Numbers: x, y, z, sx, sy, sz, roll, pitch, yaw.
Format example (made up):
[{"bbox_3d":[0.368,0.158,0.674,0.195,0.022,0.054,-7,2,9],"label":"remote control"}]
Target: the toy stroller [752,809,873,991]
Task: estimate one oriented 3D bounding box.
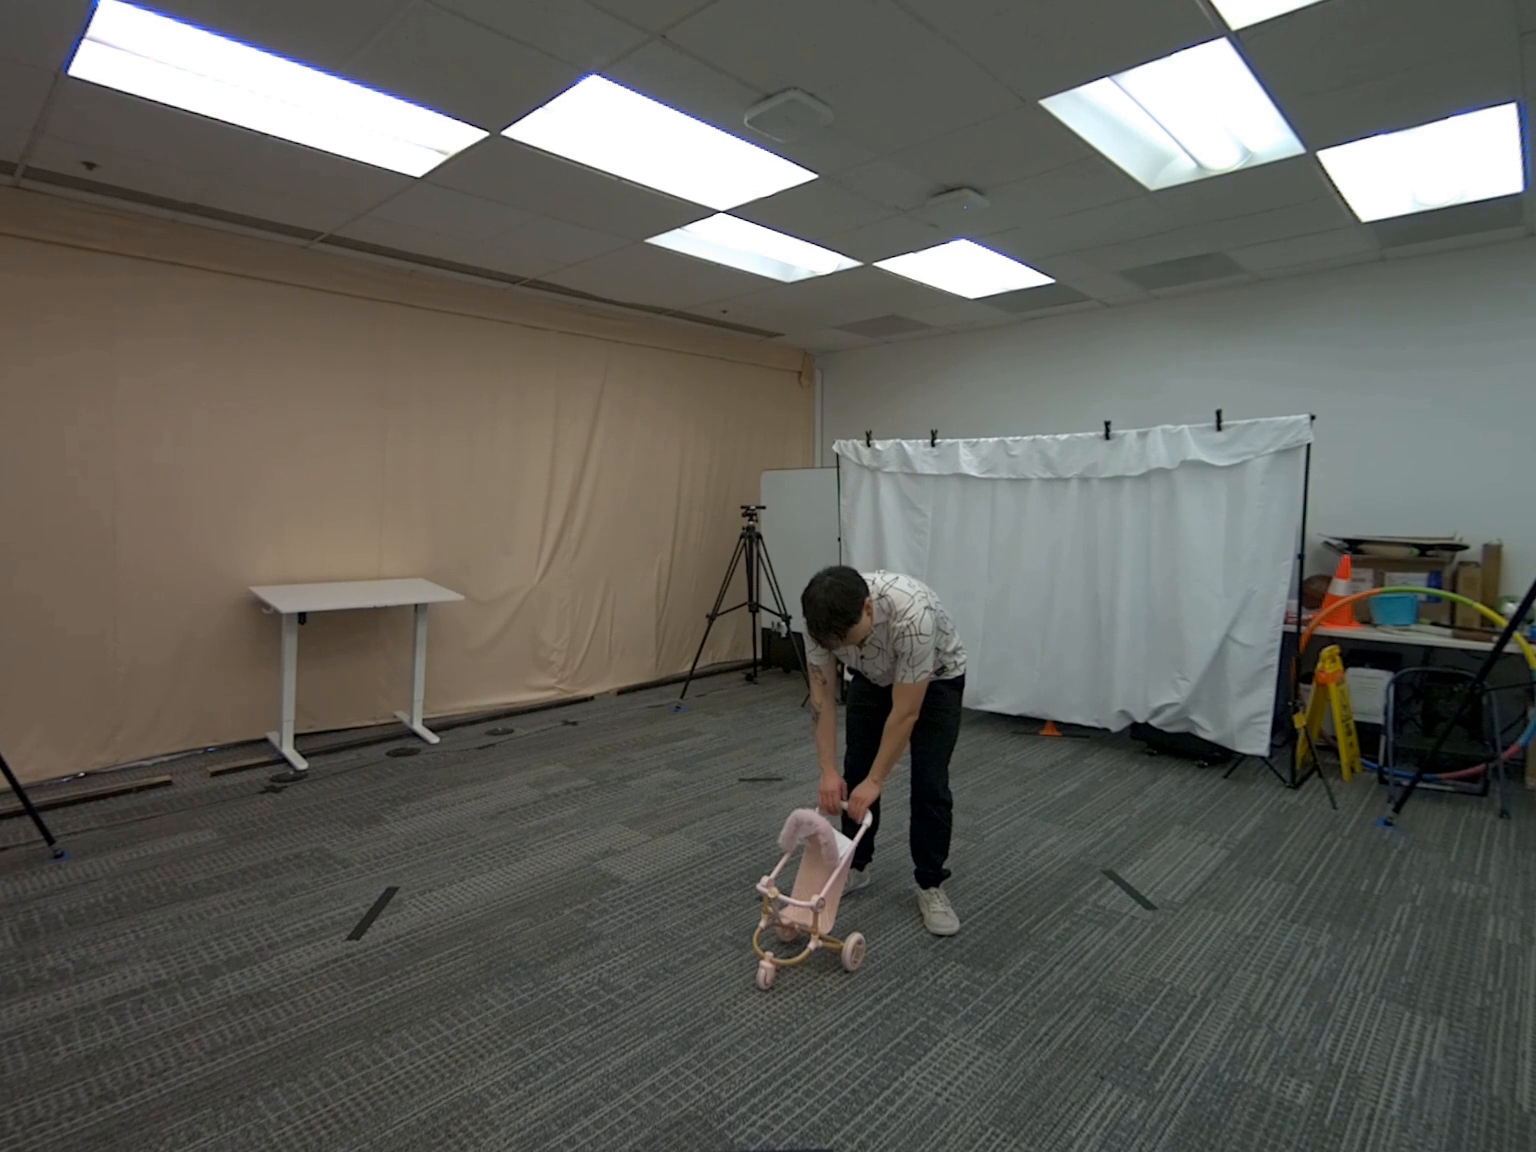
[{"bbox_3d":[0.122,0.952,2.558,0.329,0.537,0.291,19,-11,-43],"label":"toy stroller"}]
